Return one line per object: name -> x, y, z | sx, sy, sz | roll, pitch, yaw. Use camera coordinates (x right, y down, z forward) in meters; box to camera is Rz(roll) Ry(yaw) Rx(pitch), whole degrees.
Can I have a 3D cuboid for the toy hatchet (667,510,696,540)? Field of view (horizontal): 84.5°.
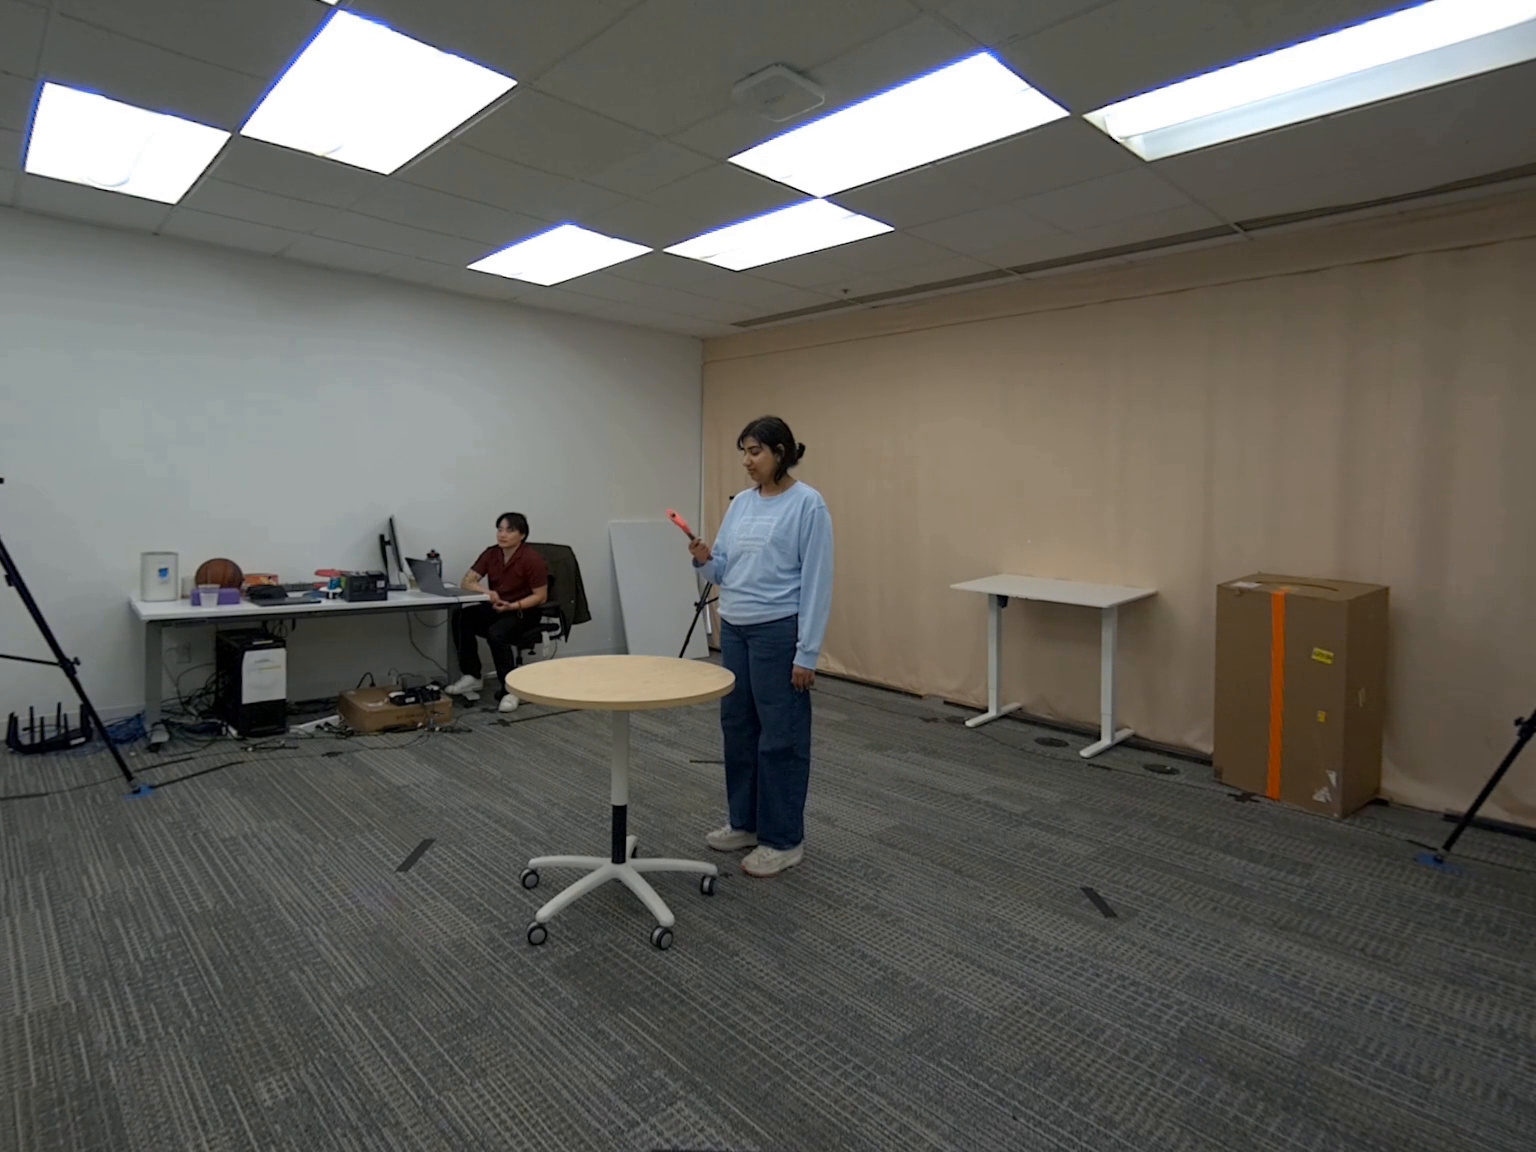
toy hatchet -> -0.281, -0.141, 3.078 | 0.263, 0.029, 0.134 | 48, -8, -26
